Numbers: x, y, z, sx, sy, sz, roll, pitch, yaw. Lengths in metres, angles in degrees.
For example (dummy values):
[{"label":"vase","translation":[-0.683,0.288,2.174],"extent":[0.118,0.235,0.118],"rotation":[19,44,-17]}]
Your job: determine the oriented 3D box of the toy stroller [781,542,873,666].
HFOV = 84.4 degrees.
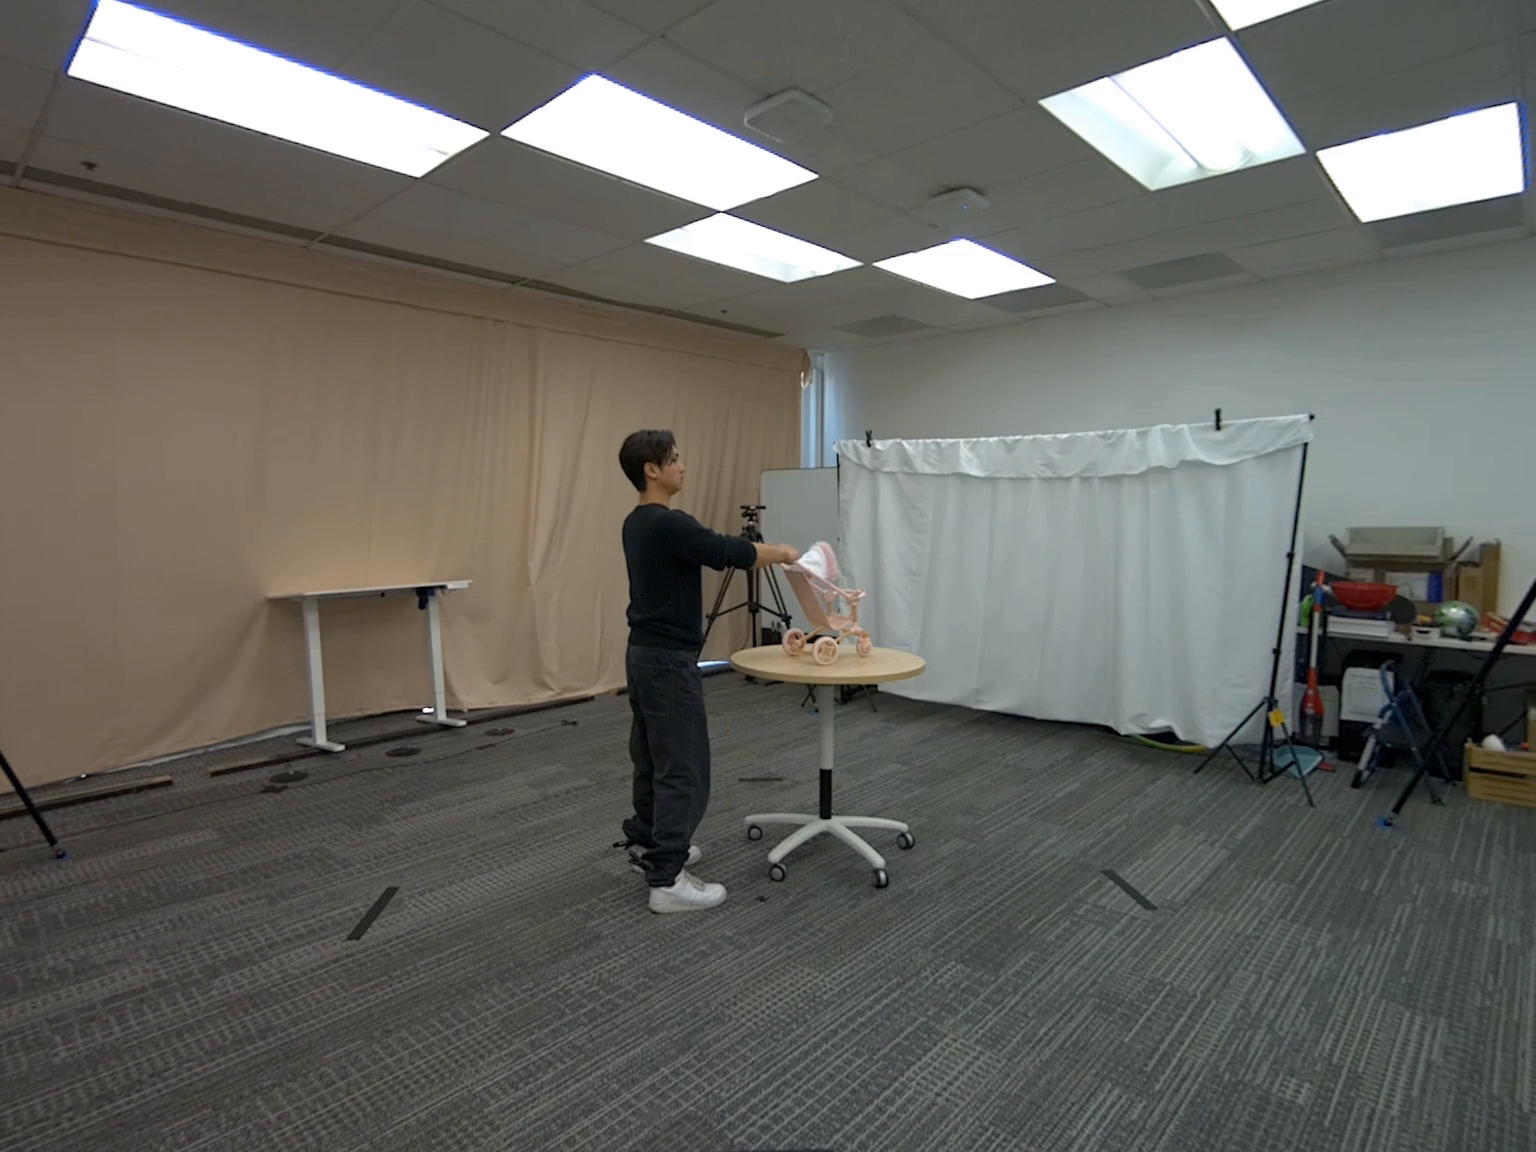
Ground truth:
[{"label":"toy stroller","translation":[0.225,0.107,3.323],"extent":[0.336,0.532,0.287],"rotation":[-16,7,-19]}]
